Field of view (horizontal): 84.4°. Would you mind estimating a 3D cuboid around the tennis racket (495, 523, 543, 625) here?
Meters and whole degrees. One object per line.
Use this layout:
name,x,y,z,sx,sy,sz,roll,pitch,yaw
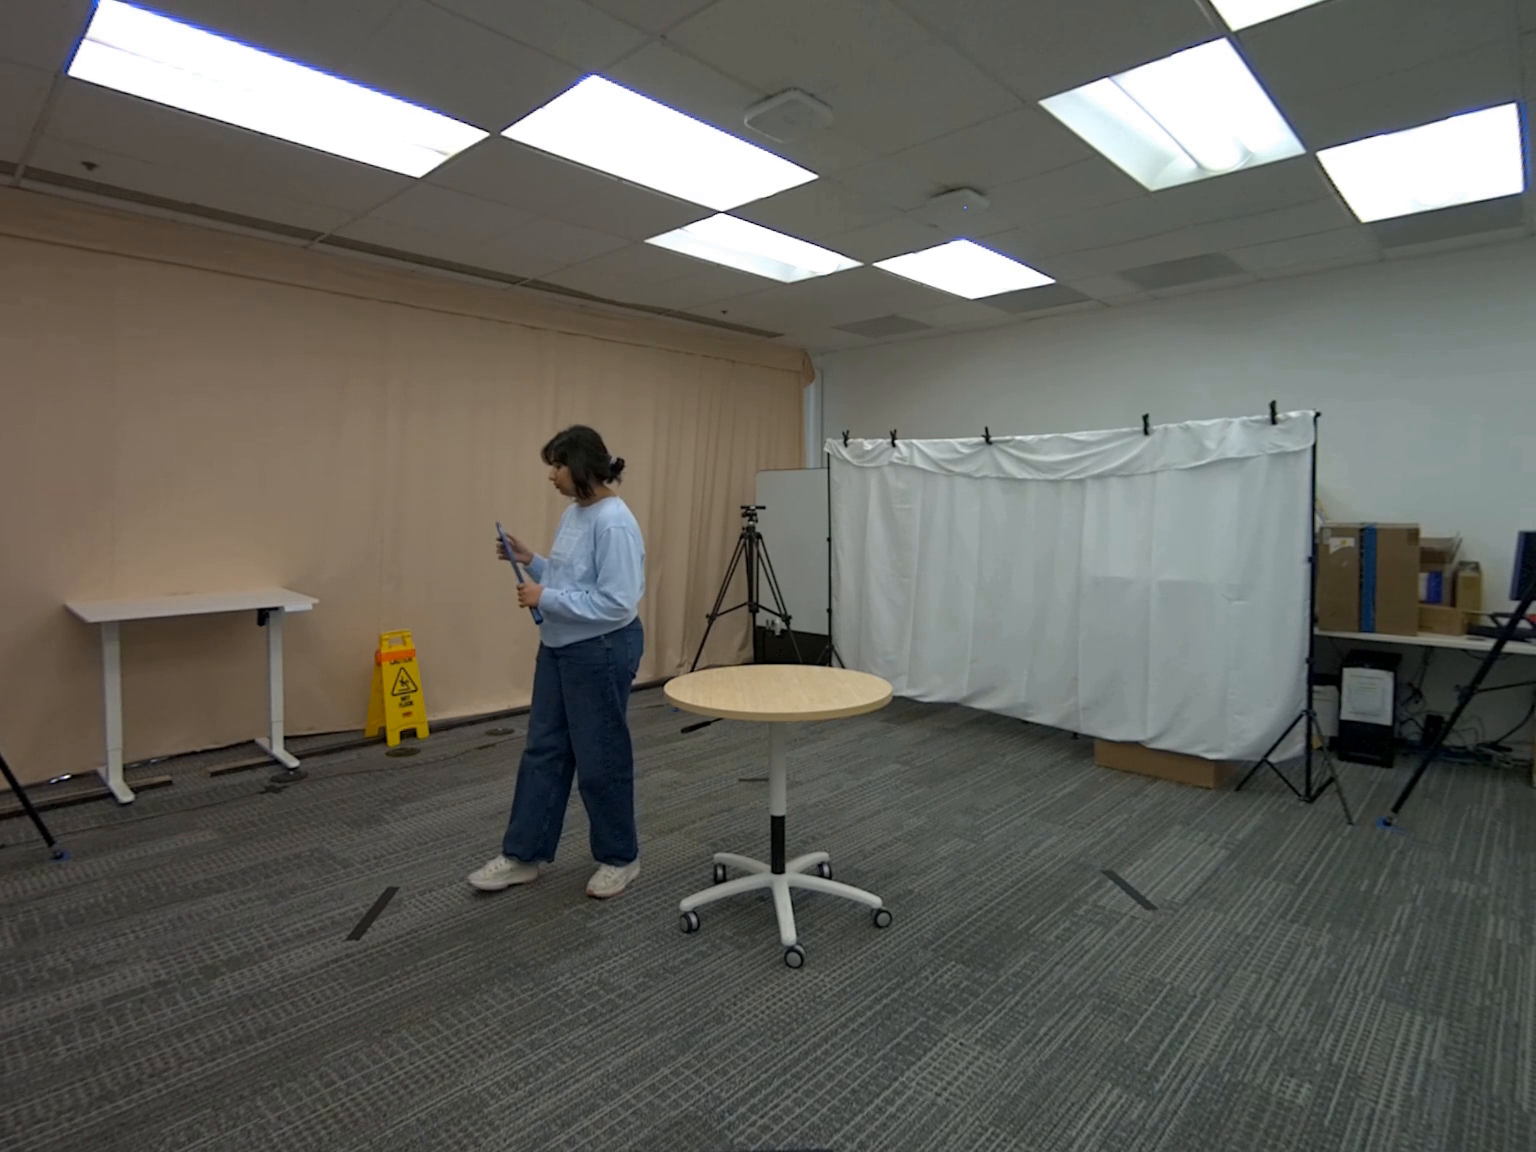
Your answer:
tennis racket,-0.855,-0.019,2.975,0.031,0.445,0.209,-25,-29,-6
